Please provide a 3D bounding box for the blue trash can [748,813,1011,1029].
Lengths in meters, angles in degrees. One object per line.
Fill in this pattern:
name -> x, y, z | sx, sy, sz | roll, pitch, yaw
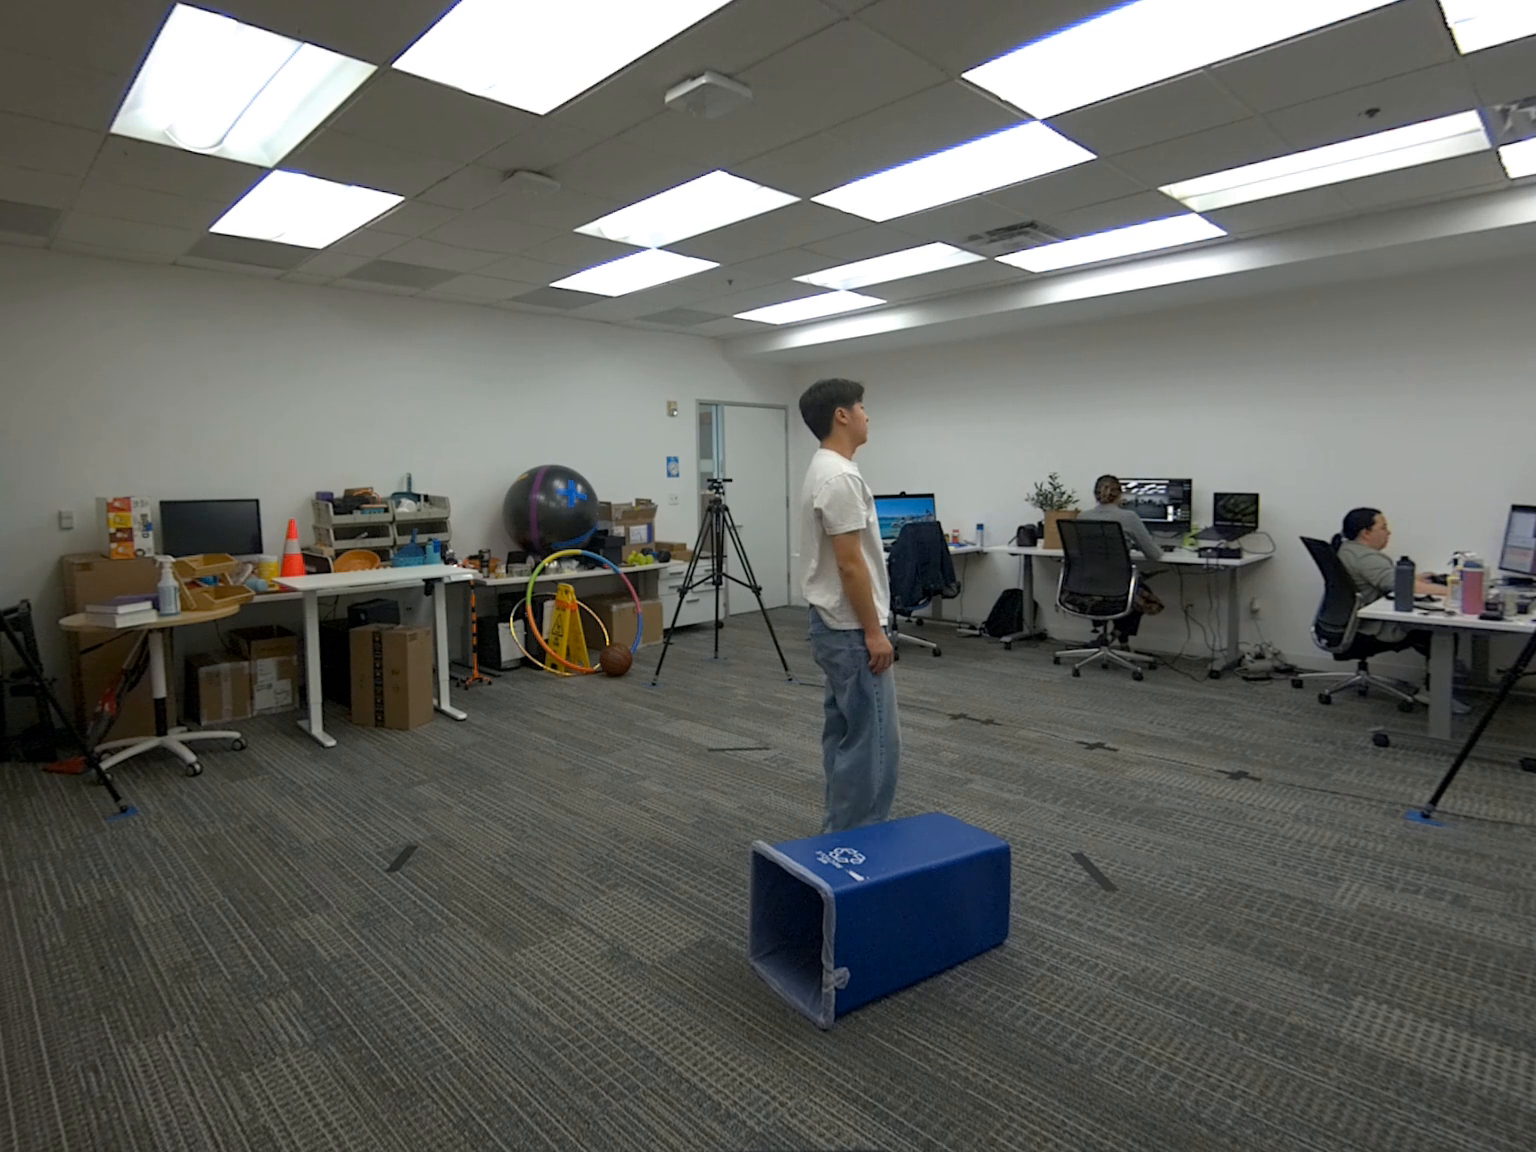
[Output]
blue trash can -> 0.341, 0.933, 2.485 | 0.696, 0.373, 0.389 | -3, 5, -33
